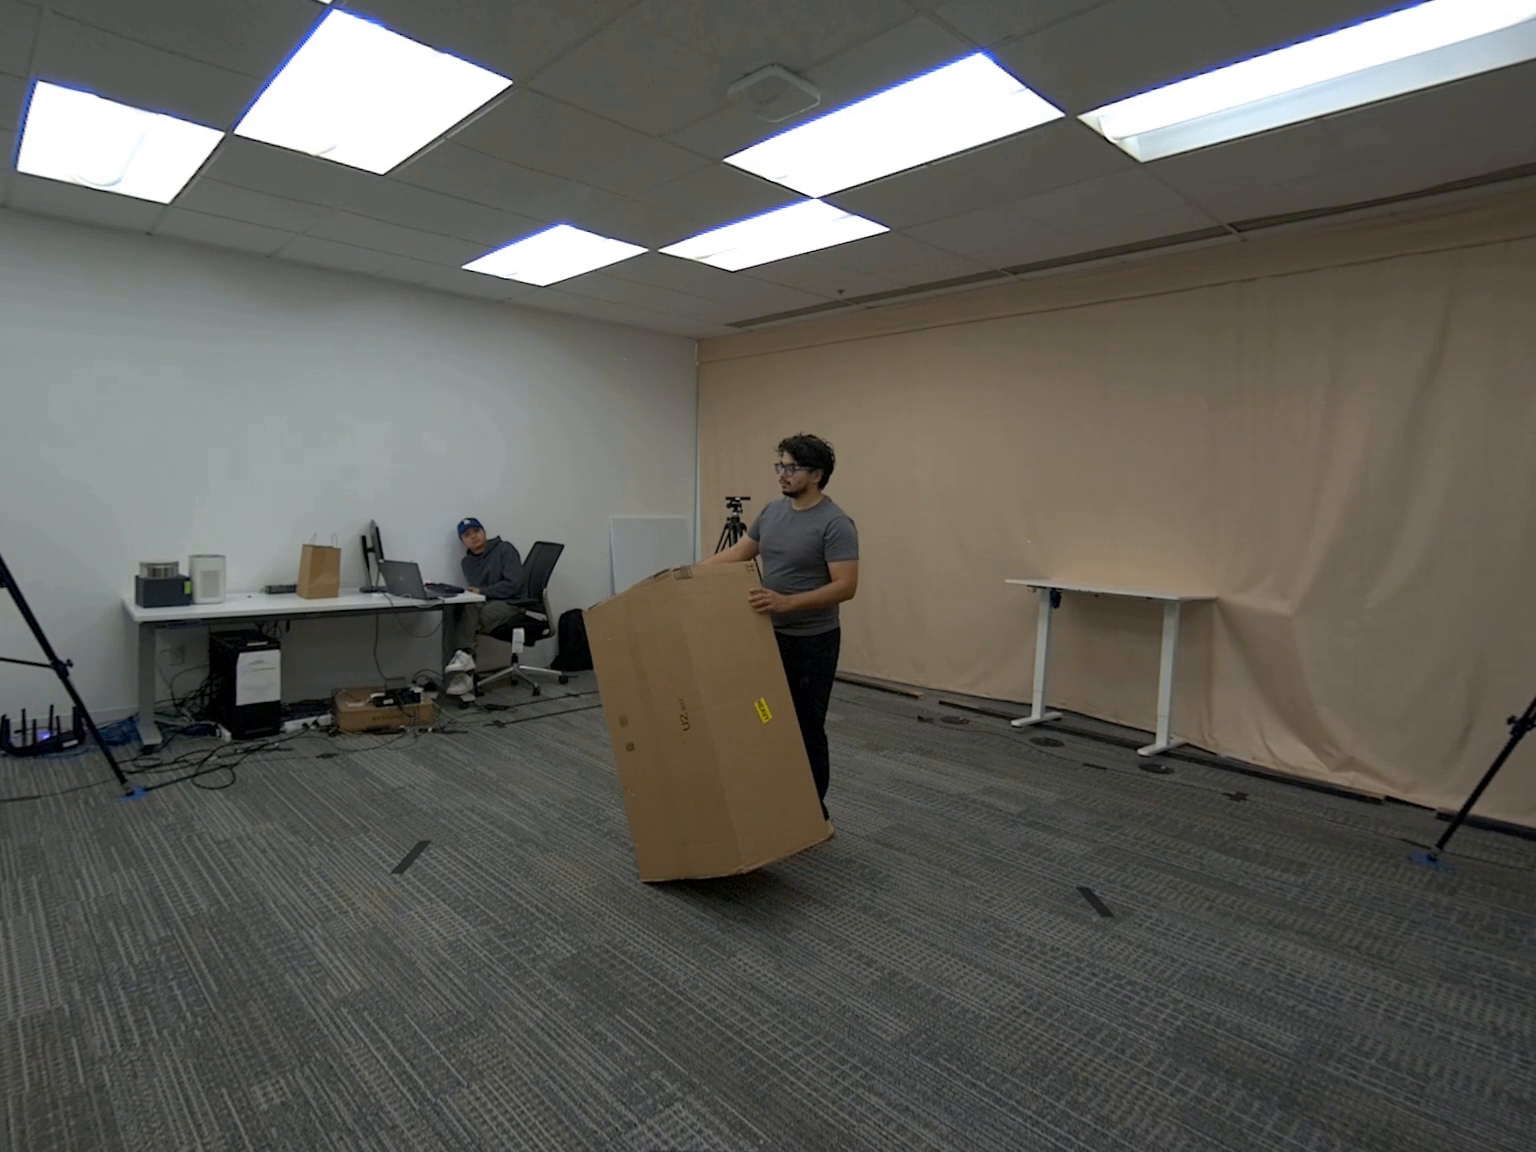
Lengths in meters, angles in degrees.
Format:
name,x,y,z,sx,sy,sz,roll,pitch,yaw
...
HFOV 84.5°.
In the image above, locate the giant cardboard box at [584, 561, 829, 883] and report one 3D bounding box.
name,x,y,z,sx,sy,sz,roll,pitch,yaw
giant cardboard box,-0.261,0.531,3.105,0.416,1.038,0.584,-2,-18,-45
